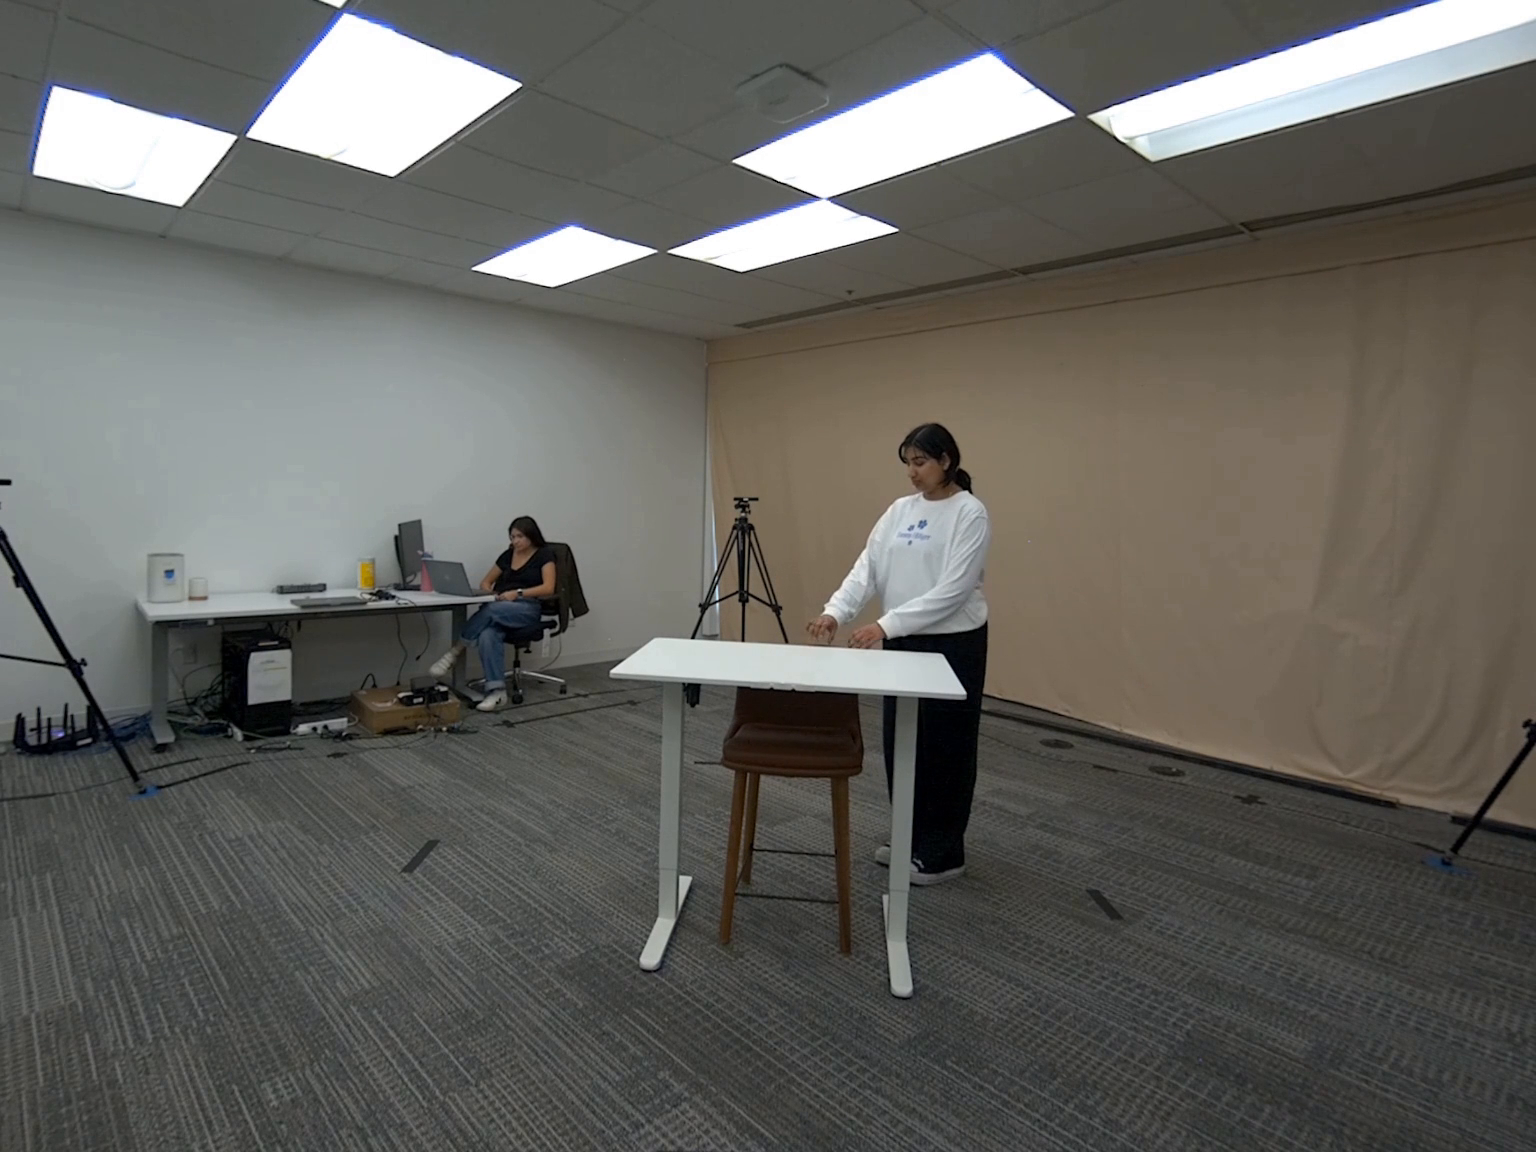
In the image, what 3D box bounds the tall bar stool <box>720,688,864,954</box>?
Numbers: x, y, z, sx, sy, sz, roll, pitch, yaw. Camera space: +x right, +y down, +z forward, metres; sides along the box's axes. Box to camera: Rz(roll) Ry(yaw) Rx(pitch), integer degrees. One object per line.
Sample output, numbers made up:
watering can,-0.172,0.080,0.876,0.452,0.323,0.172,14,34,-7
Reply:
tall bar stool,0.089,0.710,2.807,0.460,0.888,0.465,2,2,8
